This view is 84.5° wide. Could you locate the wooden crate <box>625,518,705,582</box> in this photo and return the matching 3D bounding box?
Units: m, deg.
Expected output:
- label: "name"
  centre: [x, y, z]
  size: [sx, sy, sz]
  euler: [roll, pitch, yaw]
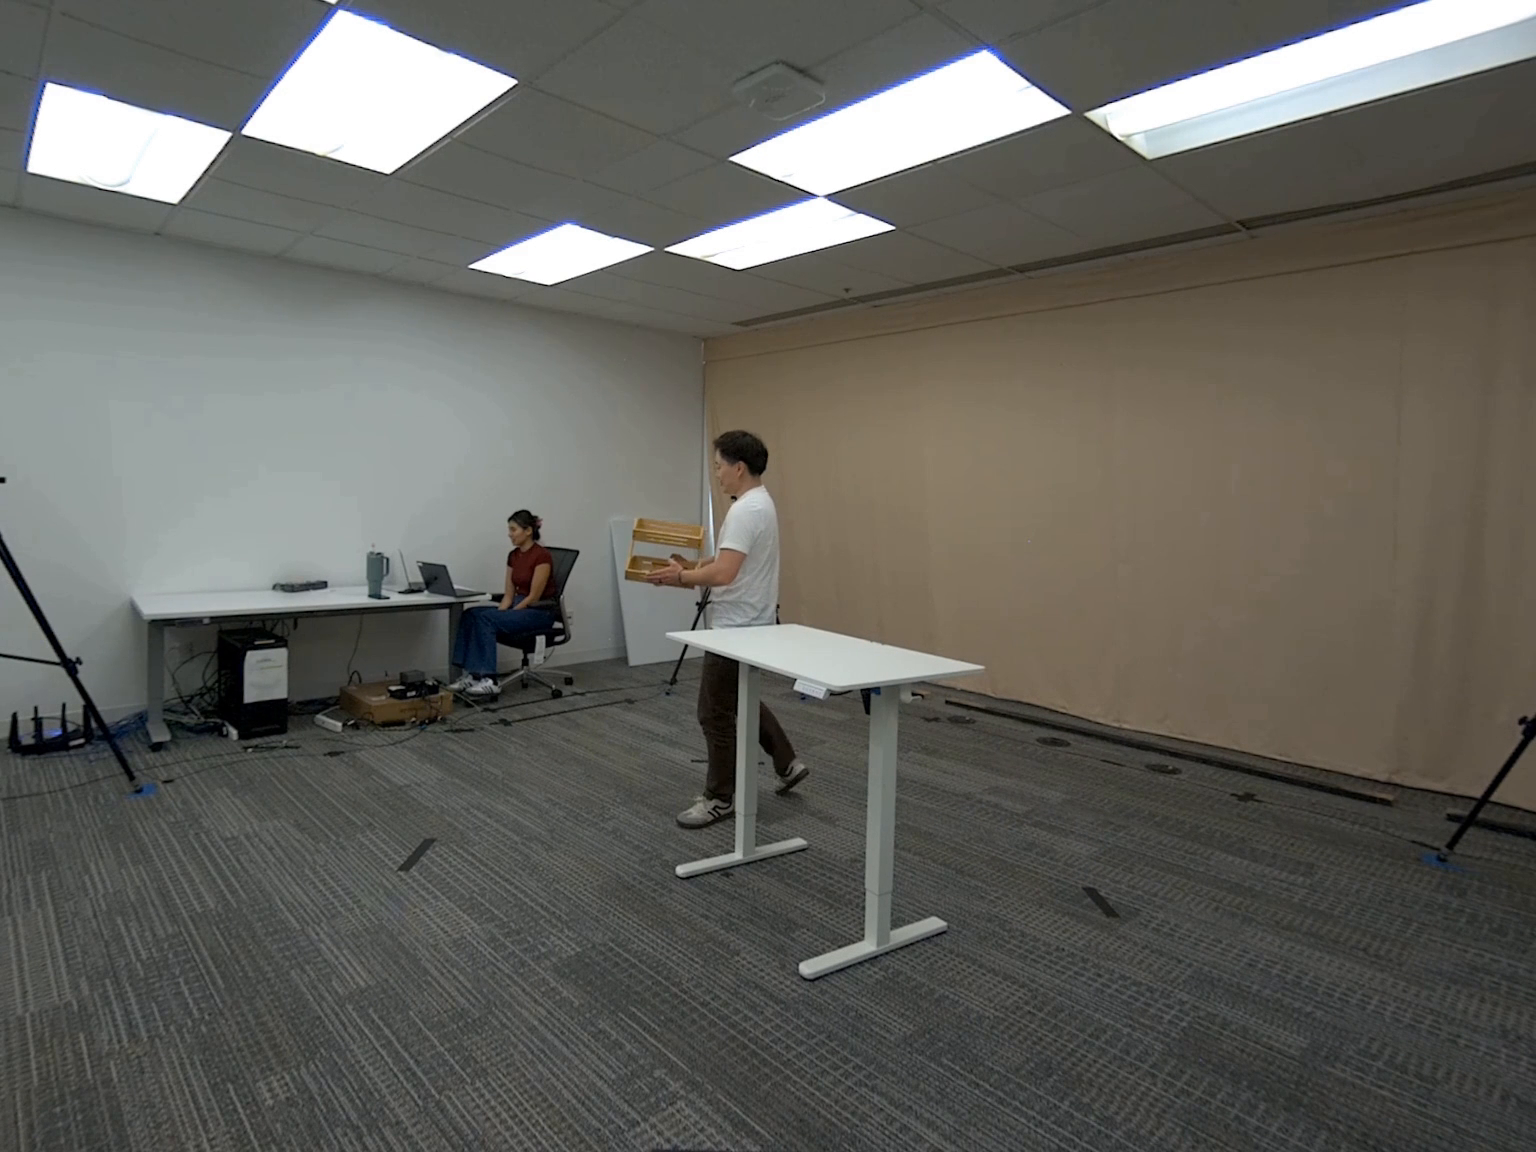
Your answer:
- label: "wooden crate"
  centre: [-0.448, -0.104, 3.719]
  size: [0.323, 0.272, 0.304]
  euler: [8, 5, -4]
